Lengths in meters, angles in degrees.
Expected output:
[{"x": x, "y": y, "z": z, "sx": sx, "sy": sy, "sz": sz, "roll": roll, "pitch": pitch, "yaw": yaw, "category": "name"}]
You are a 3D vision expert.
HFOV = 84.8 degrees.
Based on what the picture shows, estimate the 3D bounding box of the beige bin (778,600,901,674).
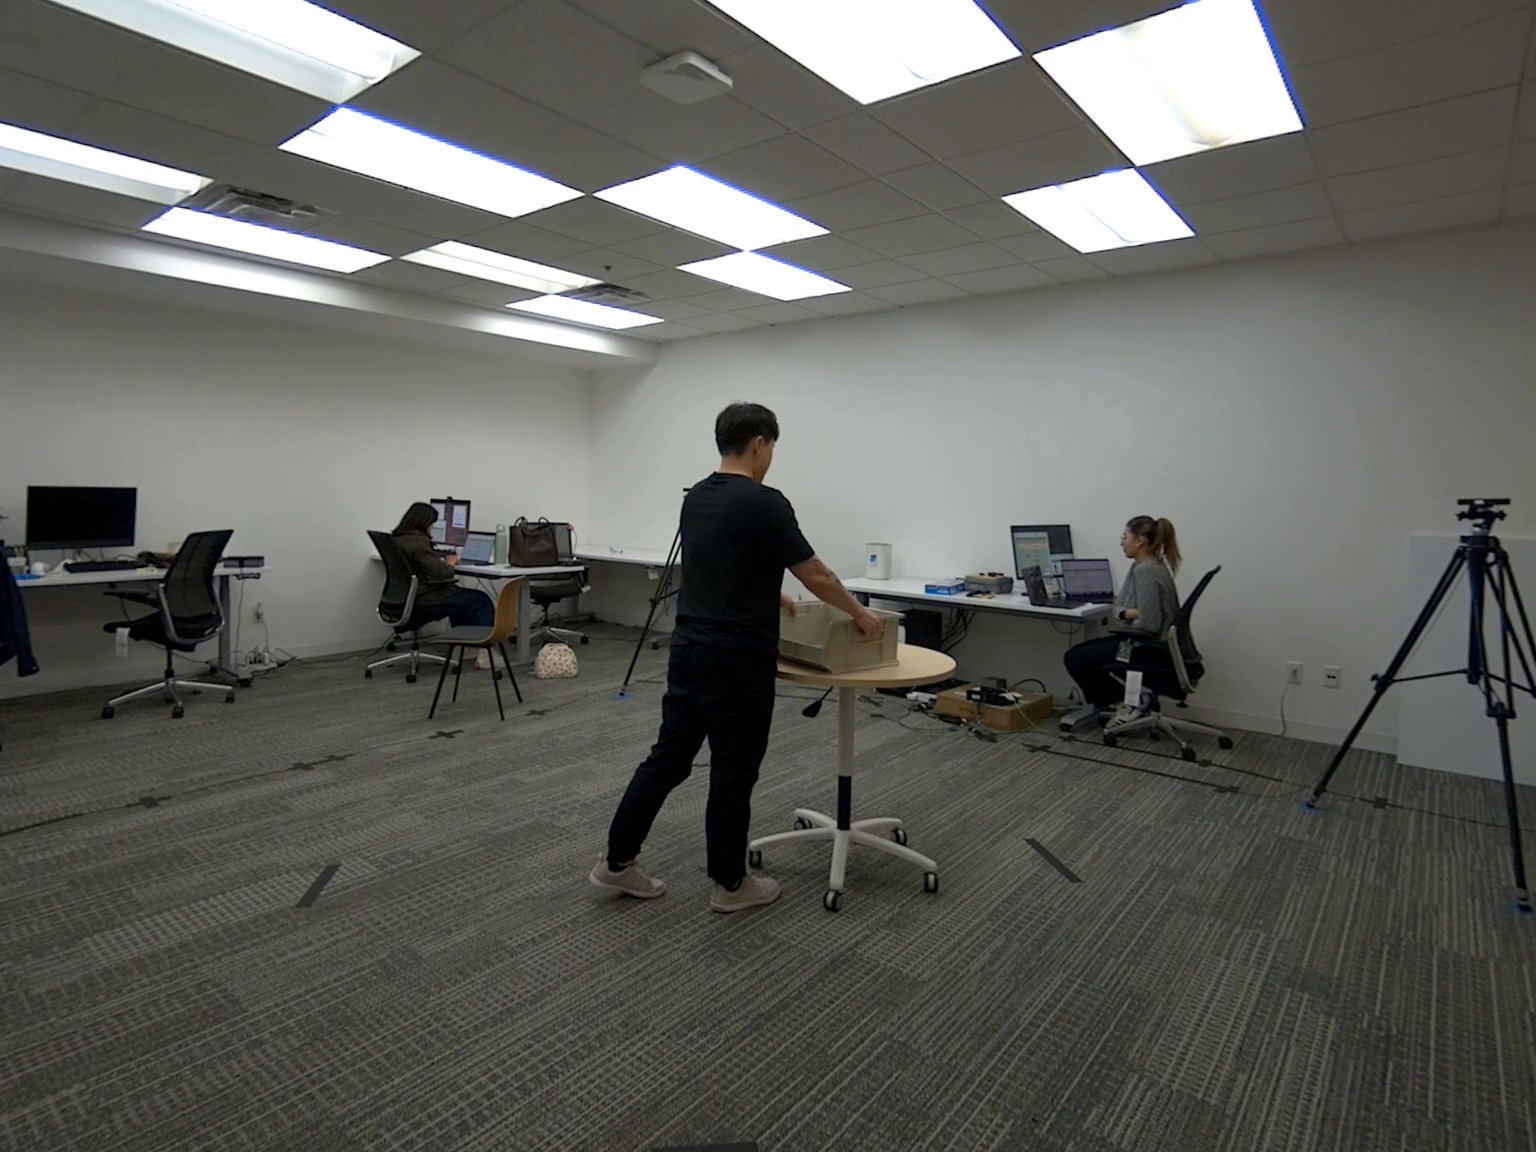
[{"x": 0.192, "y": 0.207, "z": 3.060, "sx": 0.366, "sy": 0.188, "sz": 0.436, "roll": -1, "pitch": 4, "yaw": -37, "category": "beige bin"}]
